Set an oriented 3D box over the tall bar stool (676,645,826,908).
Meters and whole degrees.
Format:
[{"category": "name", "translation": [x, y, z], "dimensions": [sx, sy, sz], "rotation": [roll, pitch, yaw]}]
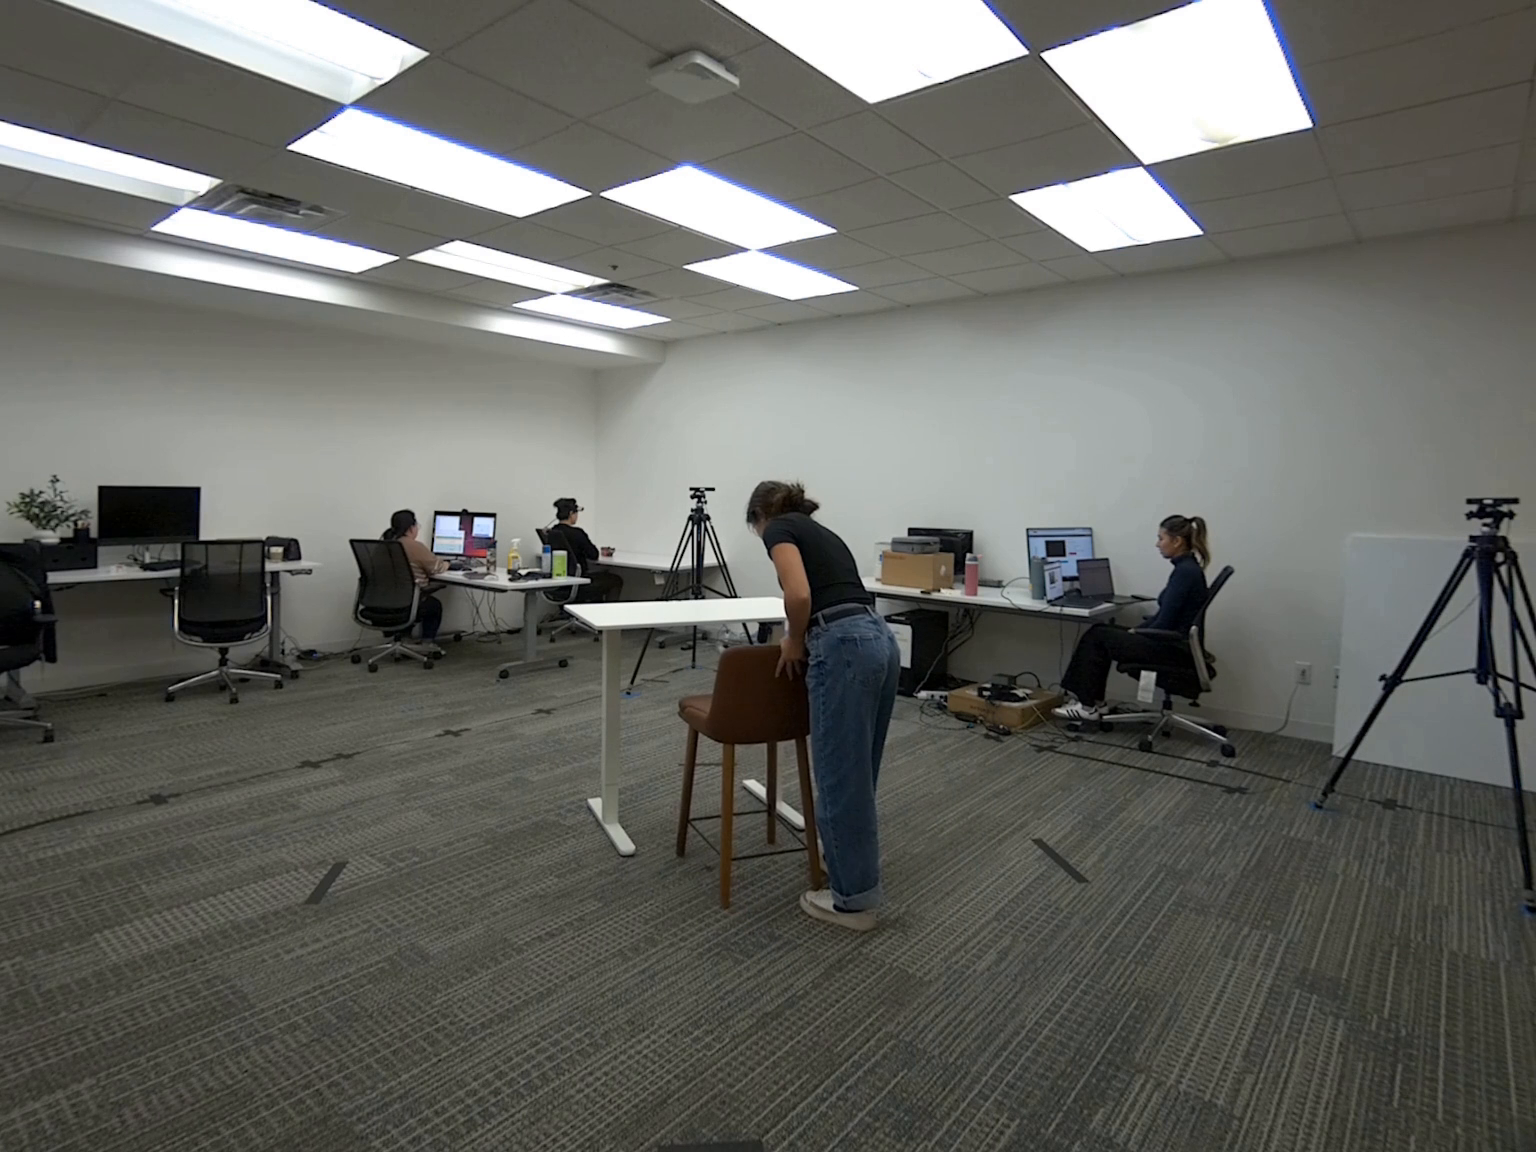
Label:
[{"category": "tall bar stool", "translation": [-0.074, 0.636, 3.058], "dimensions": [0.447, 0.886, 0.480], "rotation": [0, 6, -22]}]
